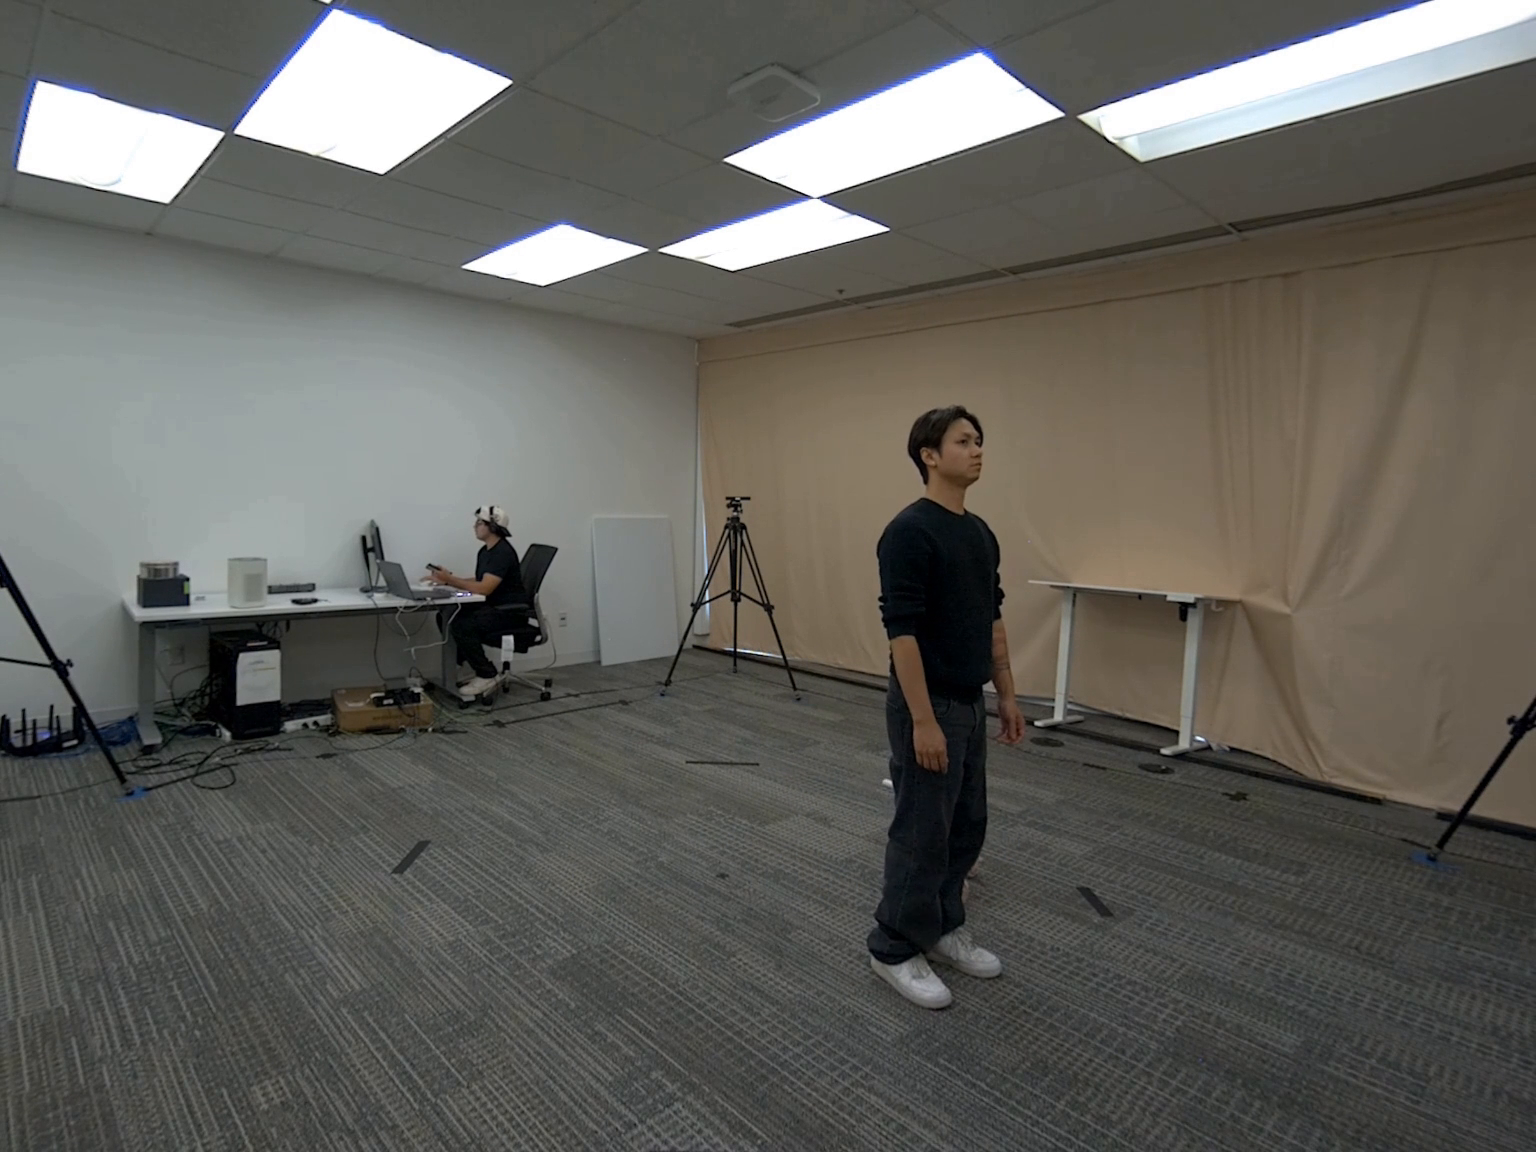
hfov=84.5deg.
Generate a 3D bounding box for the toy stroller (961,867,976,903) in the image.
[{"bbox_3d":[0.620,0.910,3.018,0.337,0.529,0.288,-21,16,-33],"label":"toy stroller"}]
